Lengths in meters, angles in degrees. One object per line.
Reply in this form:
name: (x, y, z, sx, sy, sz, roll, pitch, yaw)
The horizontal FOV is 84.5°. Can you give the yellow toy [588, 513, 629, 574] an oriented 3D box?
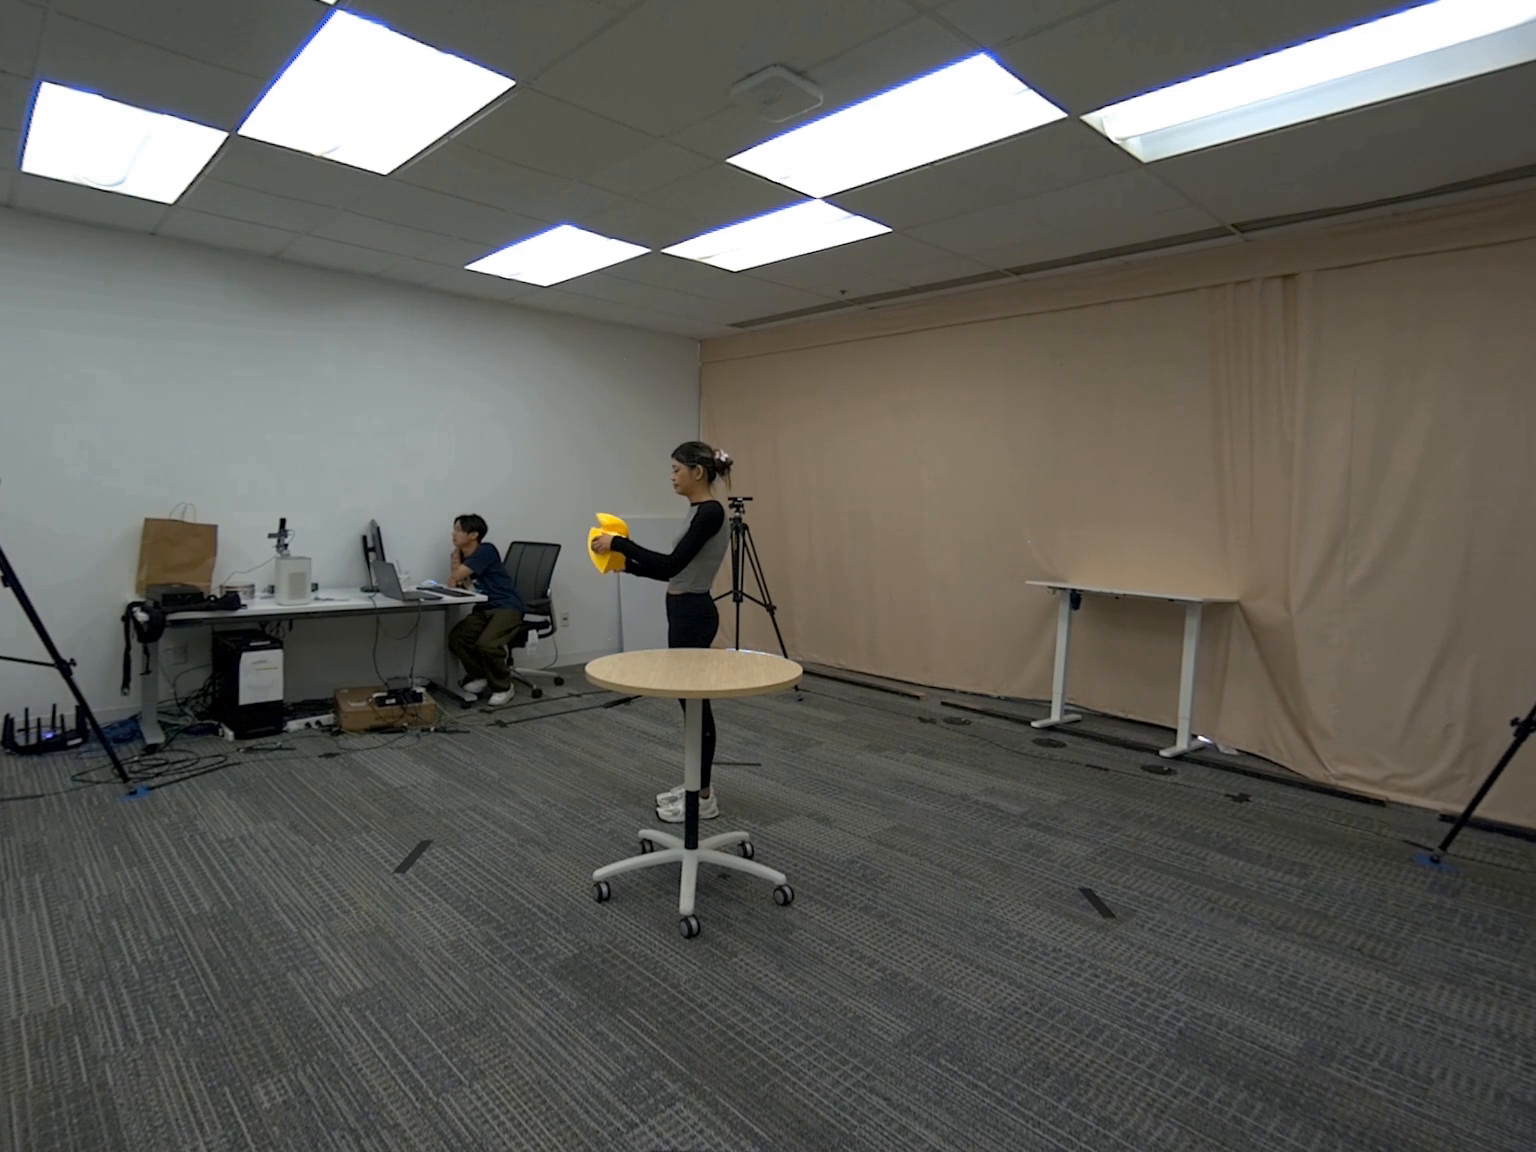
yellow toy: (-0.712, -0.113, 3.621, 0.194, 0.201, 0.232, 22, 50, 6)
